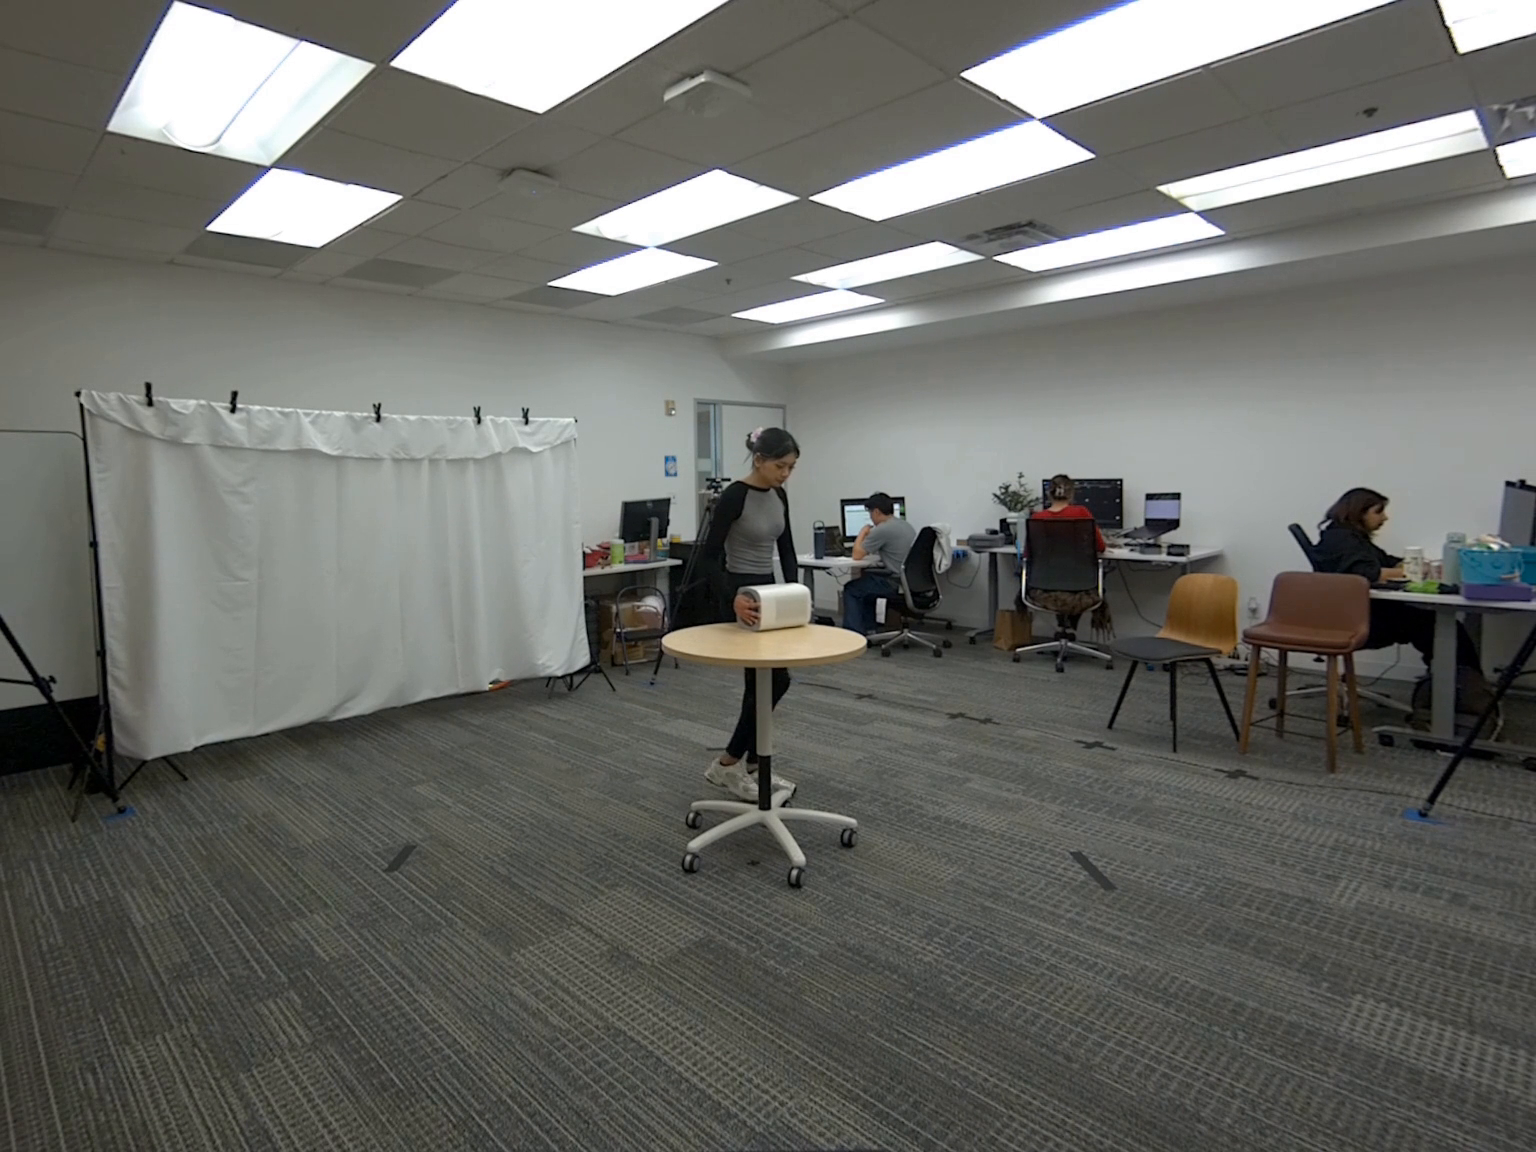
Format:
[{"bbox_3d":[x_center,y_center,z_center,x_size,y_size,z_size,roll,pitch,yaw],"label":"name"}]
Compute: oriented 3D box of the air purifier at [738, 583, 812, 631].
[{"bbox_3d":[0.026,0.124,3.457,0.259,0.171,0.176,-4,5,-33],"label":"air purifier"}]
